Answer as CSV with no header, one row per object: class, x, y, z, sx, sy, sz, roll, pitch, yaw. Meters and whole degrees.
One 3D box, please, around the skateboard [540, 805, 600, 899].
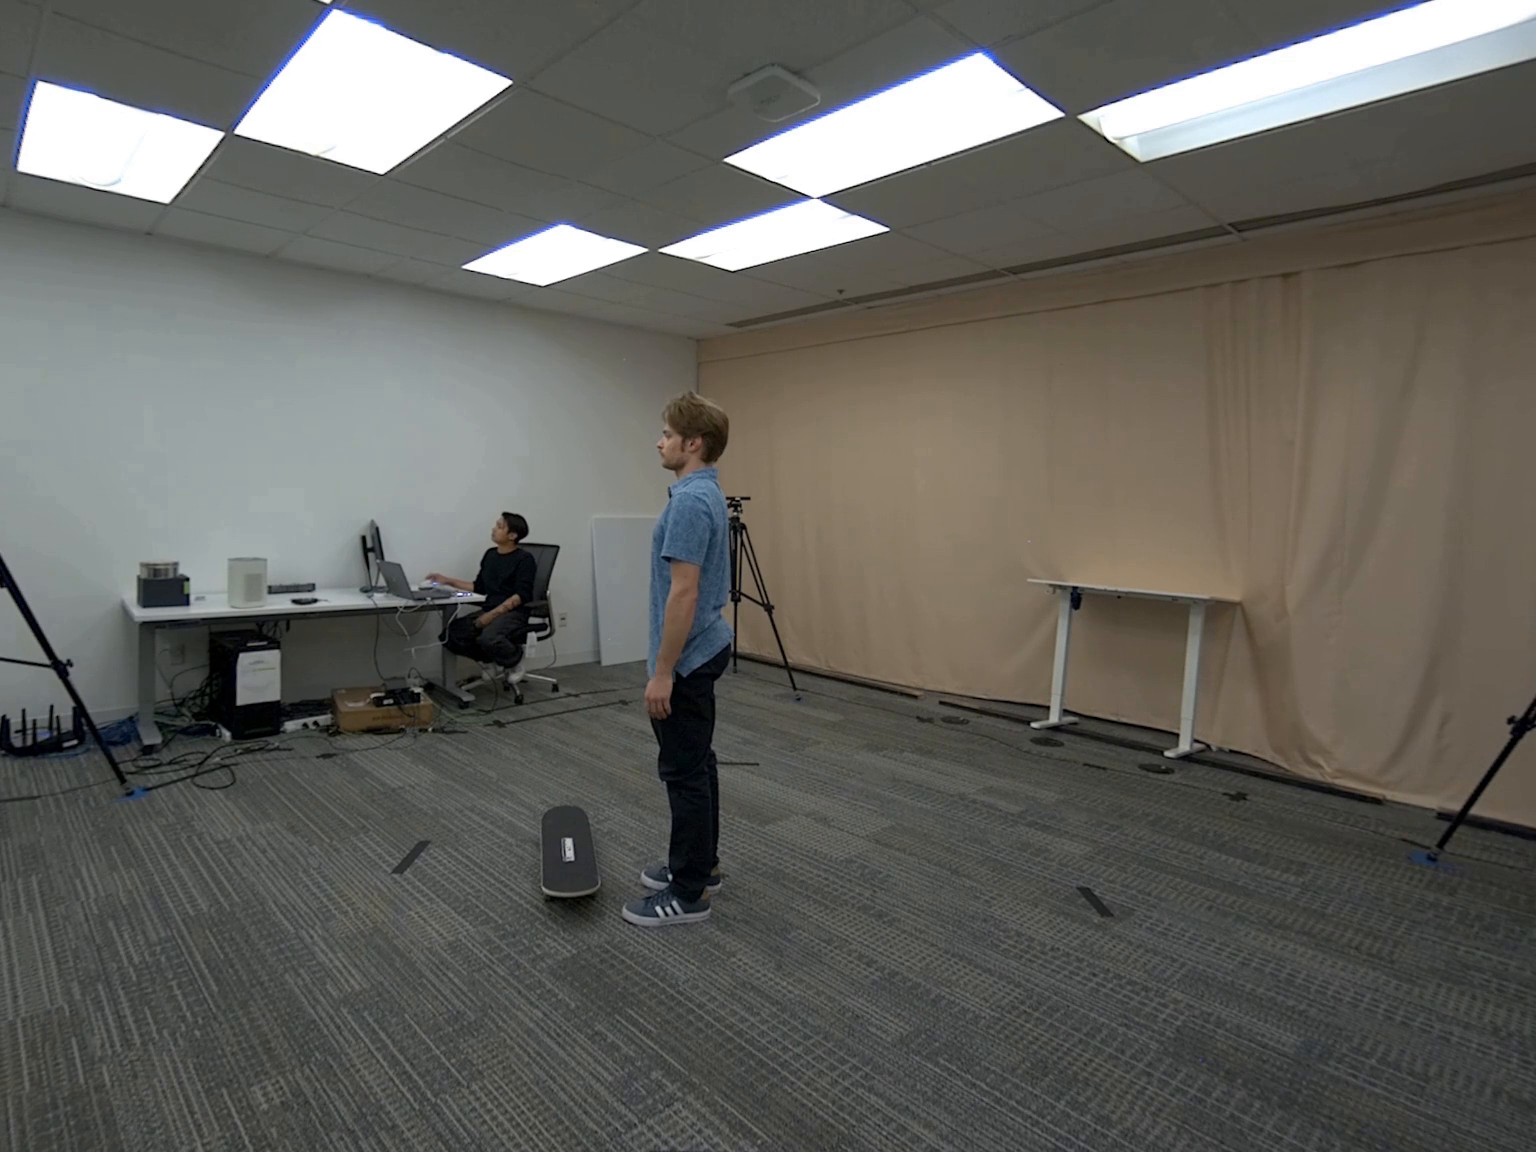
skateboard,-0.750,1.045,3.098,0.191,0.110,0.796,0,6,-14
